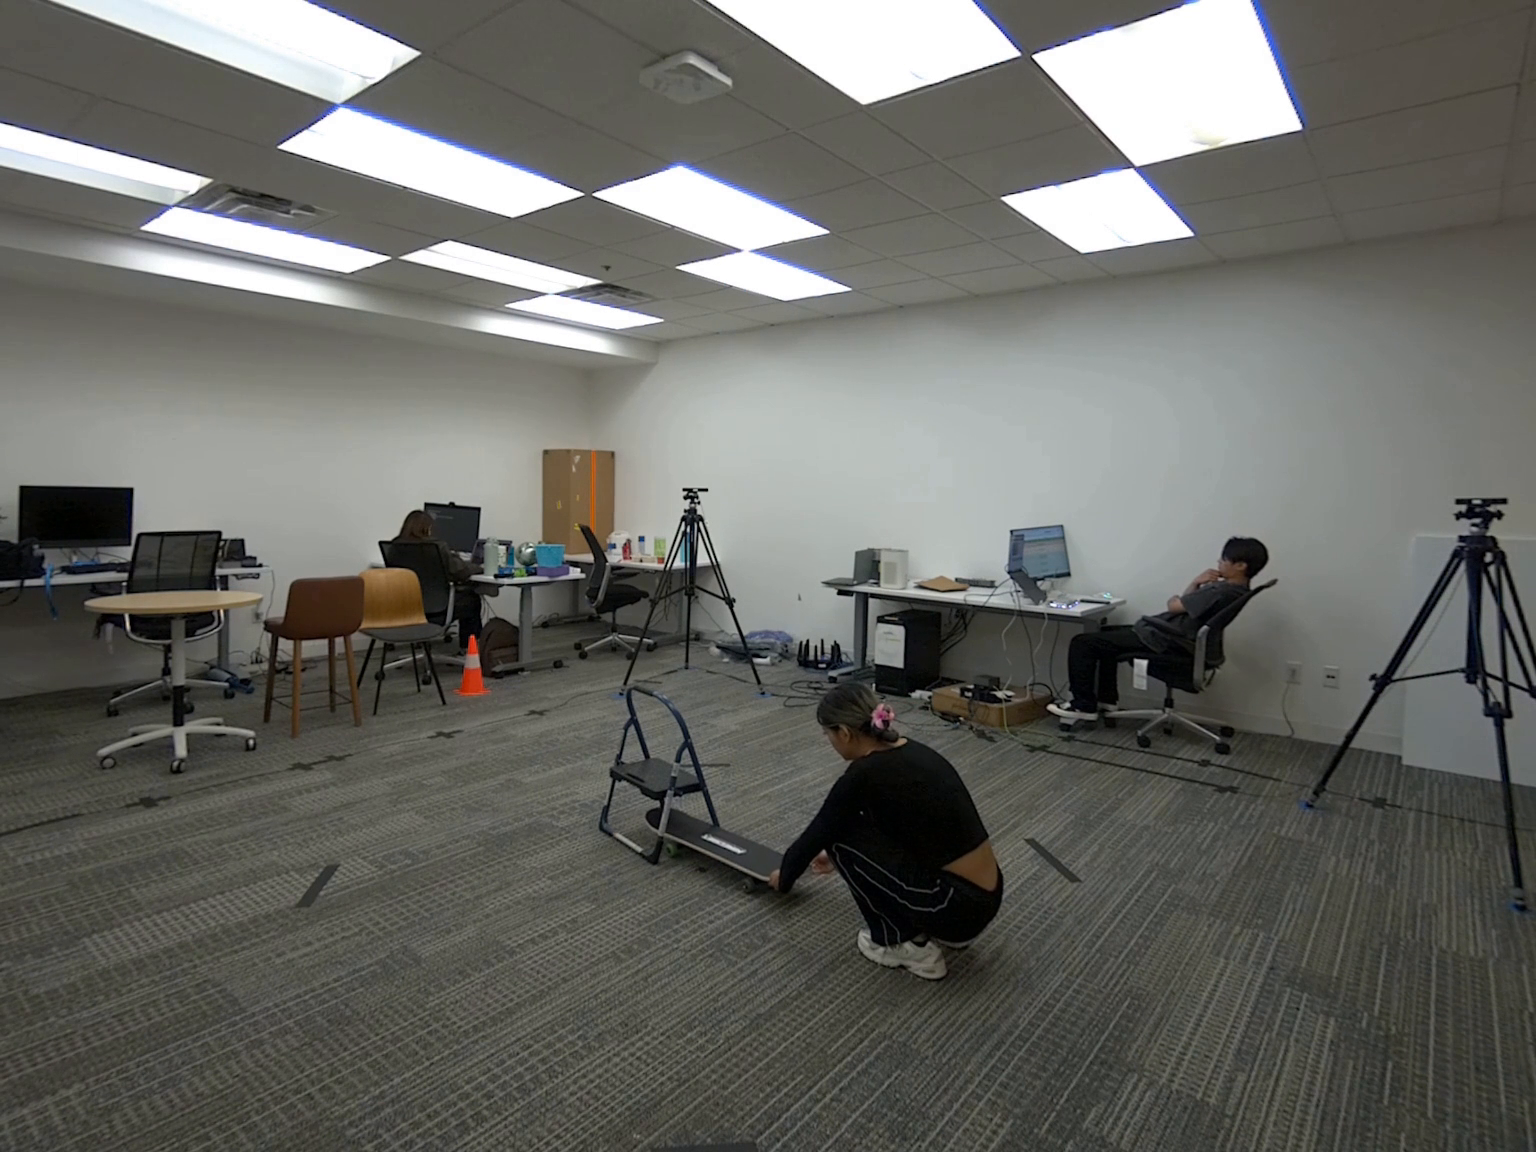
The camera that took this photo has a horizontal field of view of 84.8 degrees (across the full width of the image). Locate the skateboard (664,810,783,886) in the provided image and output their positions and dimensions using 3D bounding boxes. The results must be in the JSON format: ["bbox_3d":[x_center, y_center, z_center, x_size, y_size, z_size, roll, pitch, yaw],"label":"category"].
[{"bbox_3d":[-0.177,1.003,3.121,0.813,0.110,0.188,7,8,43],"label":"skateboard"}]
